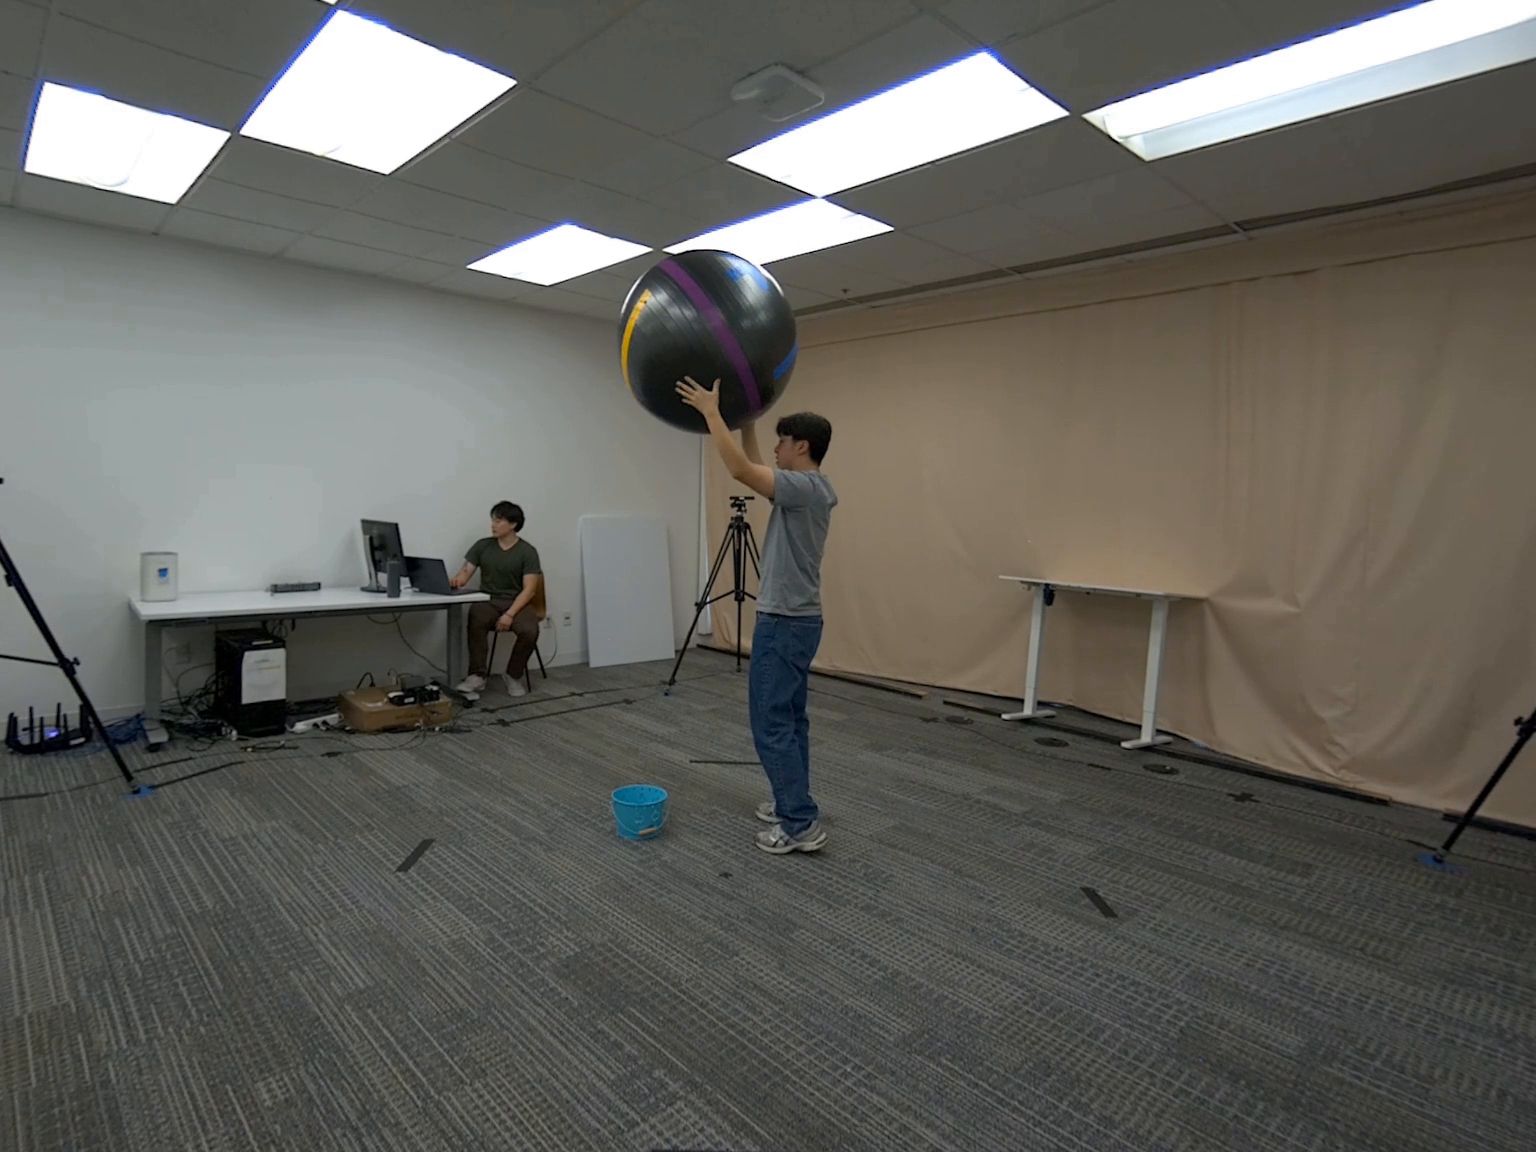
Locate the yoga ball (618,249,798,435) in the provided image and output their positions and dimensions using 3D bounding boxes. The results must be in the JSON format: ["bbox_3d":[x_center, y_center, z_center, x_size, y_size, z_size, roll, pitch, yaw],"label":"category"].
[{"bbox_3d":[-0.273,-0.967,3.543,0.757,0.756,0.761,1,4,-1],"label":"yoga ball"}]
